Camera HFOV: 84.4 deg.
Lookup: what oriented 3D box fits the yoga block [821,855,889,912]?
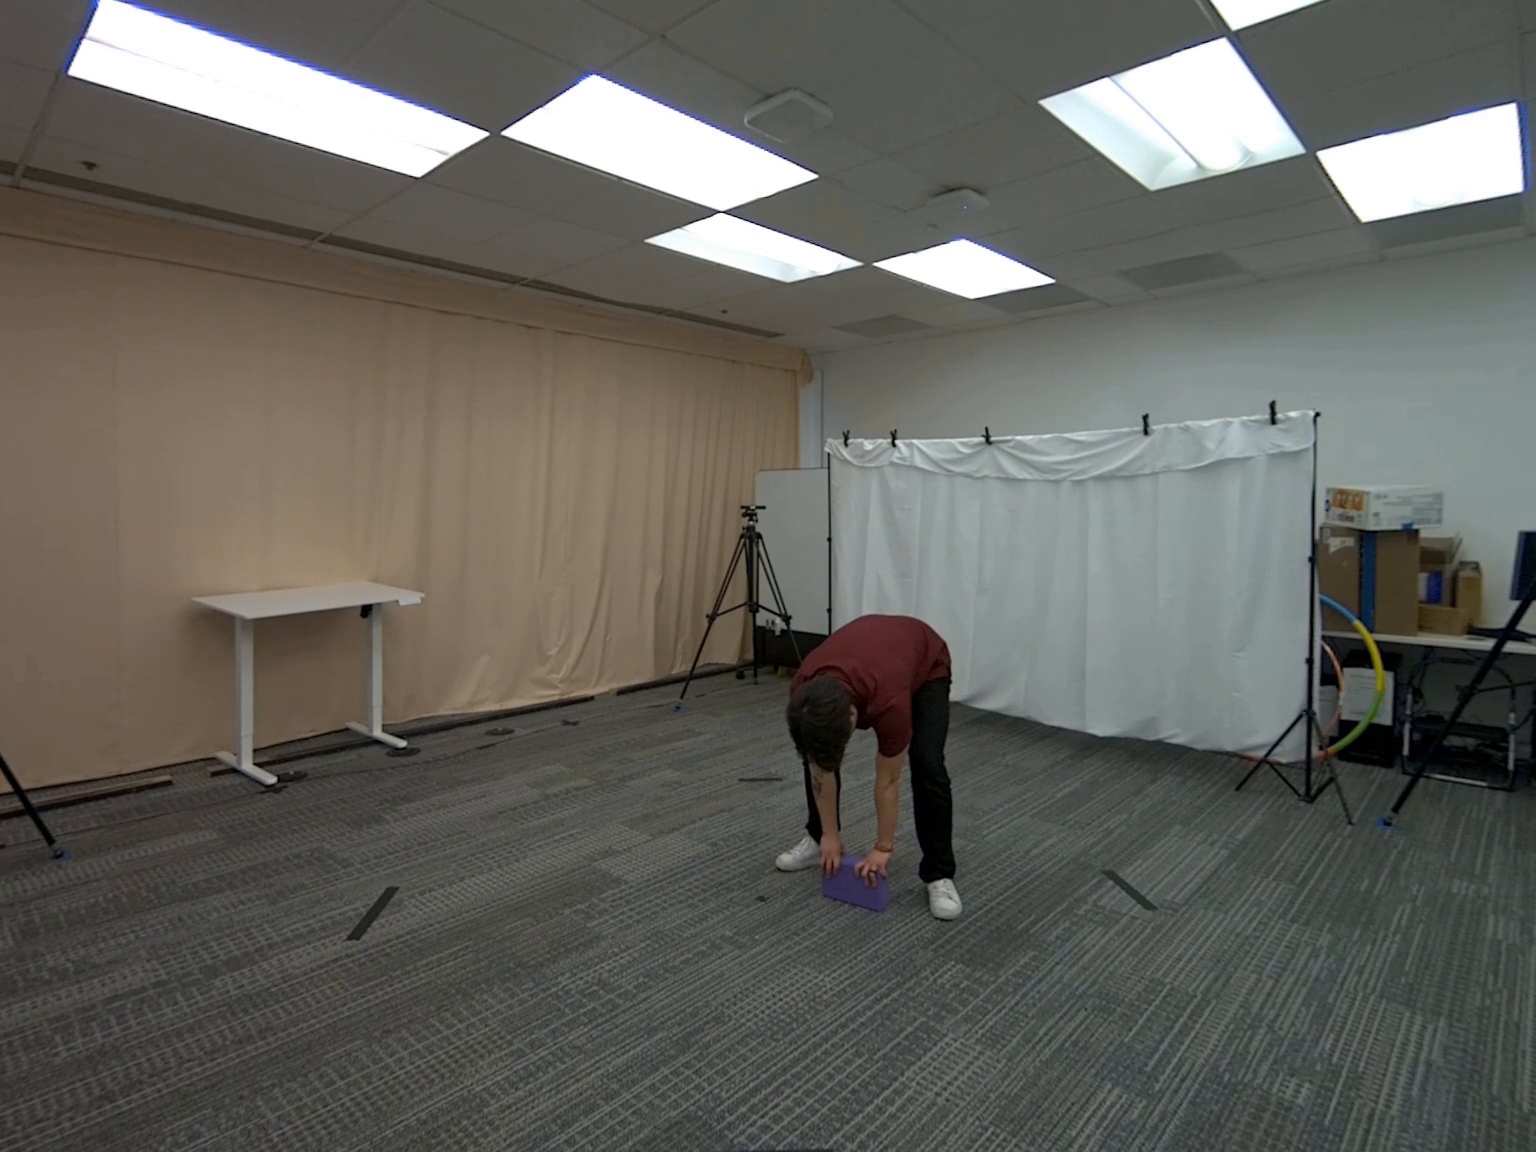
[{"bbox_3d":[0.315,1.076,2.971,0.236,0.149,0.074,4,2,31],"label":"yoga block"}]
